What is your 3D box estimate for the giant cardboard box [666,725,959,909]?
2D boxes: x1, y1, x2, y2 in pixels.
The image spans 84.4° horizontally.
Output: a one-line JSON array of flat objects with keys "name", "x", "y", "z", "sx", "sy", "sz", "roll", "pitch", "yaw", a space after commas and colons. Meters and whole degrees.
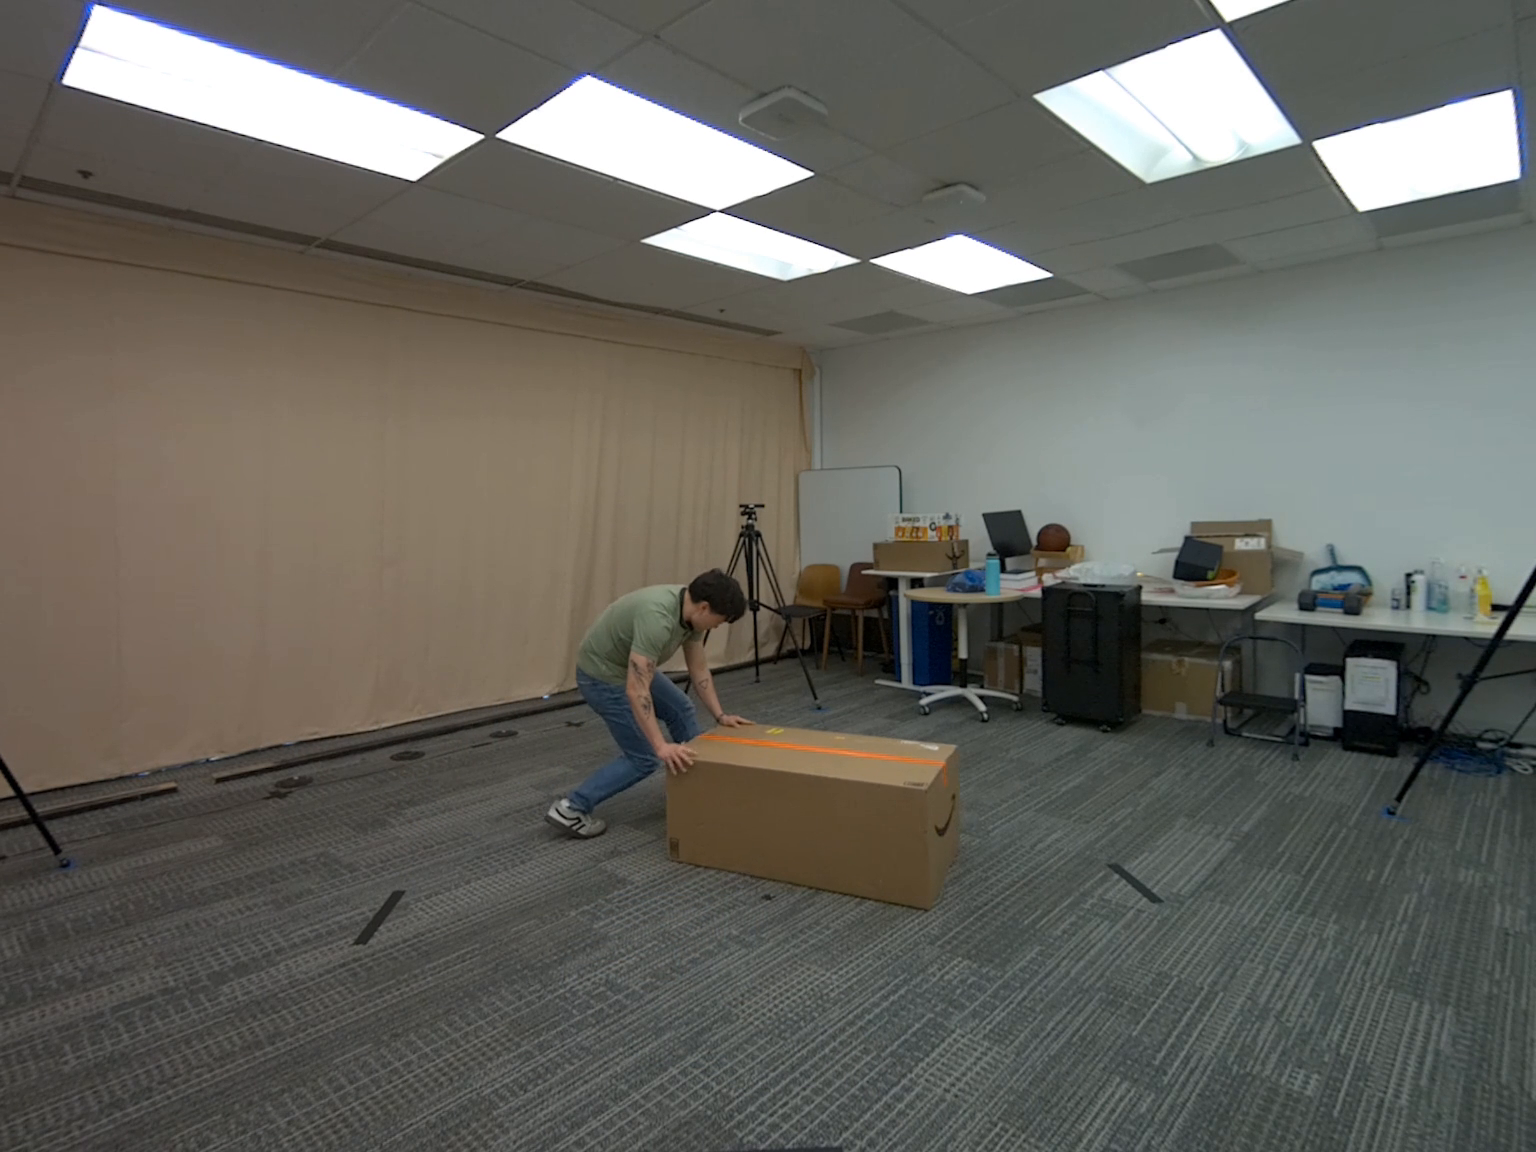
[{"name": "giant cardboard box", "x": 0.185, "y": 0.894, "z": 3.322, "sx": 1.052, "sy": 0.425, "sz": 0.564, "roll": 1, "pitch": 3, "yaw": 25}]
